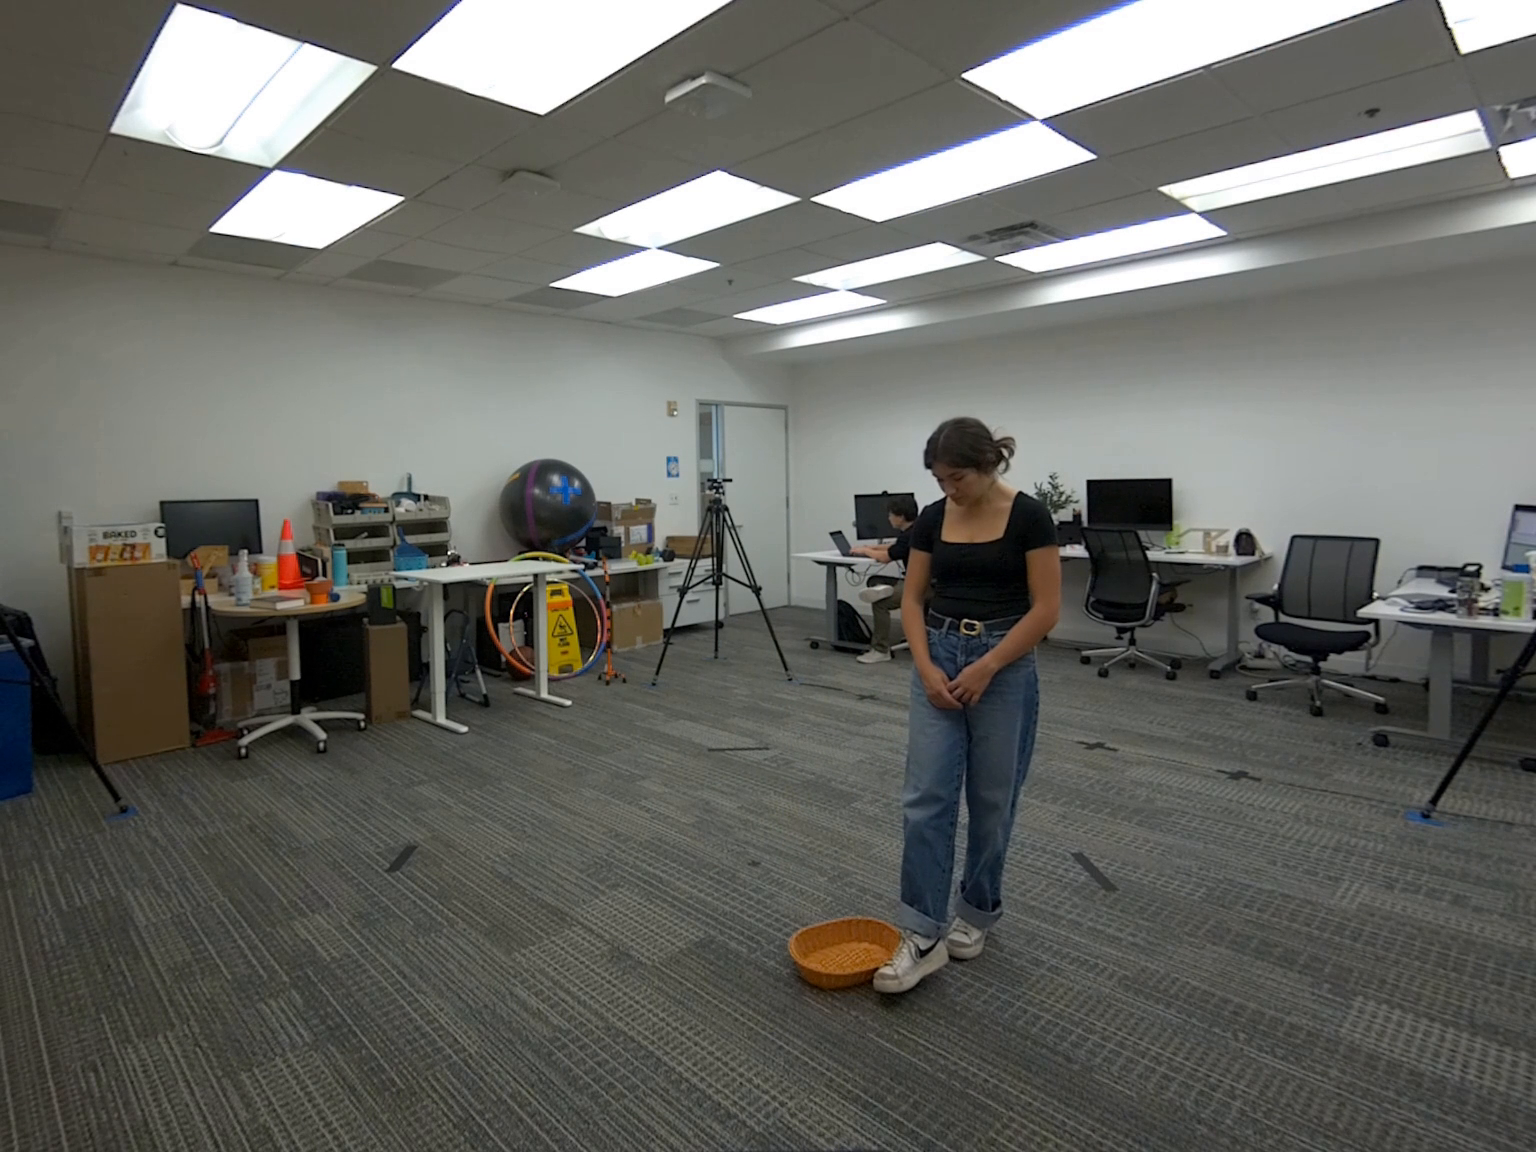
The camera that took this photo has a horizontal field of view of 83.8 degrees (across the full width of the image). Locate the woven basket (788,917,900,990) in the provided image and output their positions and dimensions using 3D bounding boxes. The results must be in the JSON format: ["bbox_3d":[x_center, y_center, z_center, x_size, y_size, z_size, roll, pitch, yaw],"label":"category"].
[{"bbox_3d":[0.229,1.080,2.439,0.343,0.073,0.259,-3,8,-24],"label":"woven basket"}]
